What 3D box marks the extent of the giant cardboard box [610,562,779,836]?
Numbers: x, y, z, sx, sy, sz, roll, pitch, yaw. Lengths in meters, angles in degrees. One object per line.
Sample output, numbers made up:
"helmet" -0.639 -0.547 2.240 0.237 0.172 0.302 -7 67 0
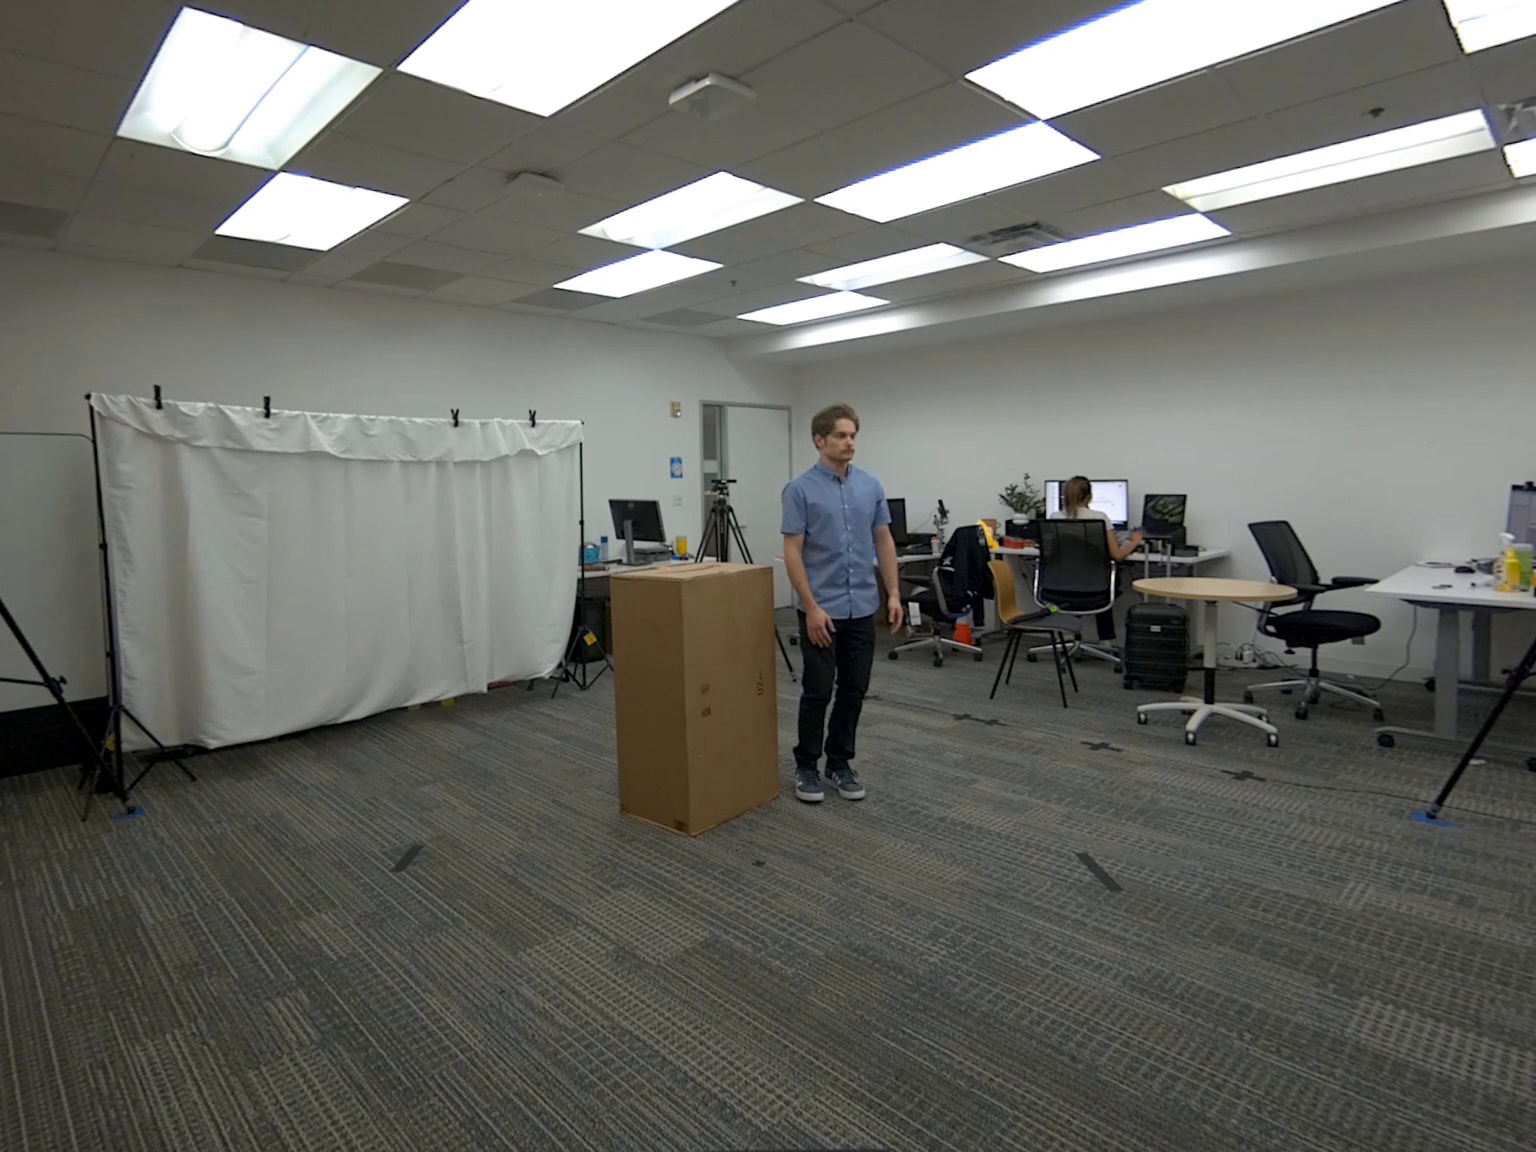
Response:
"giant cardboard box" -0.309 0.483 3.663 0.439 1.022 0.562 2 5 41
